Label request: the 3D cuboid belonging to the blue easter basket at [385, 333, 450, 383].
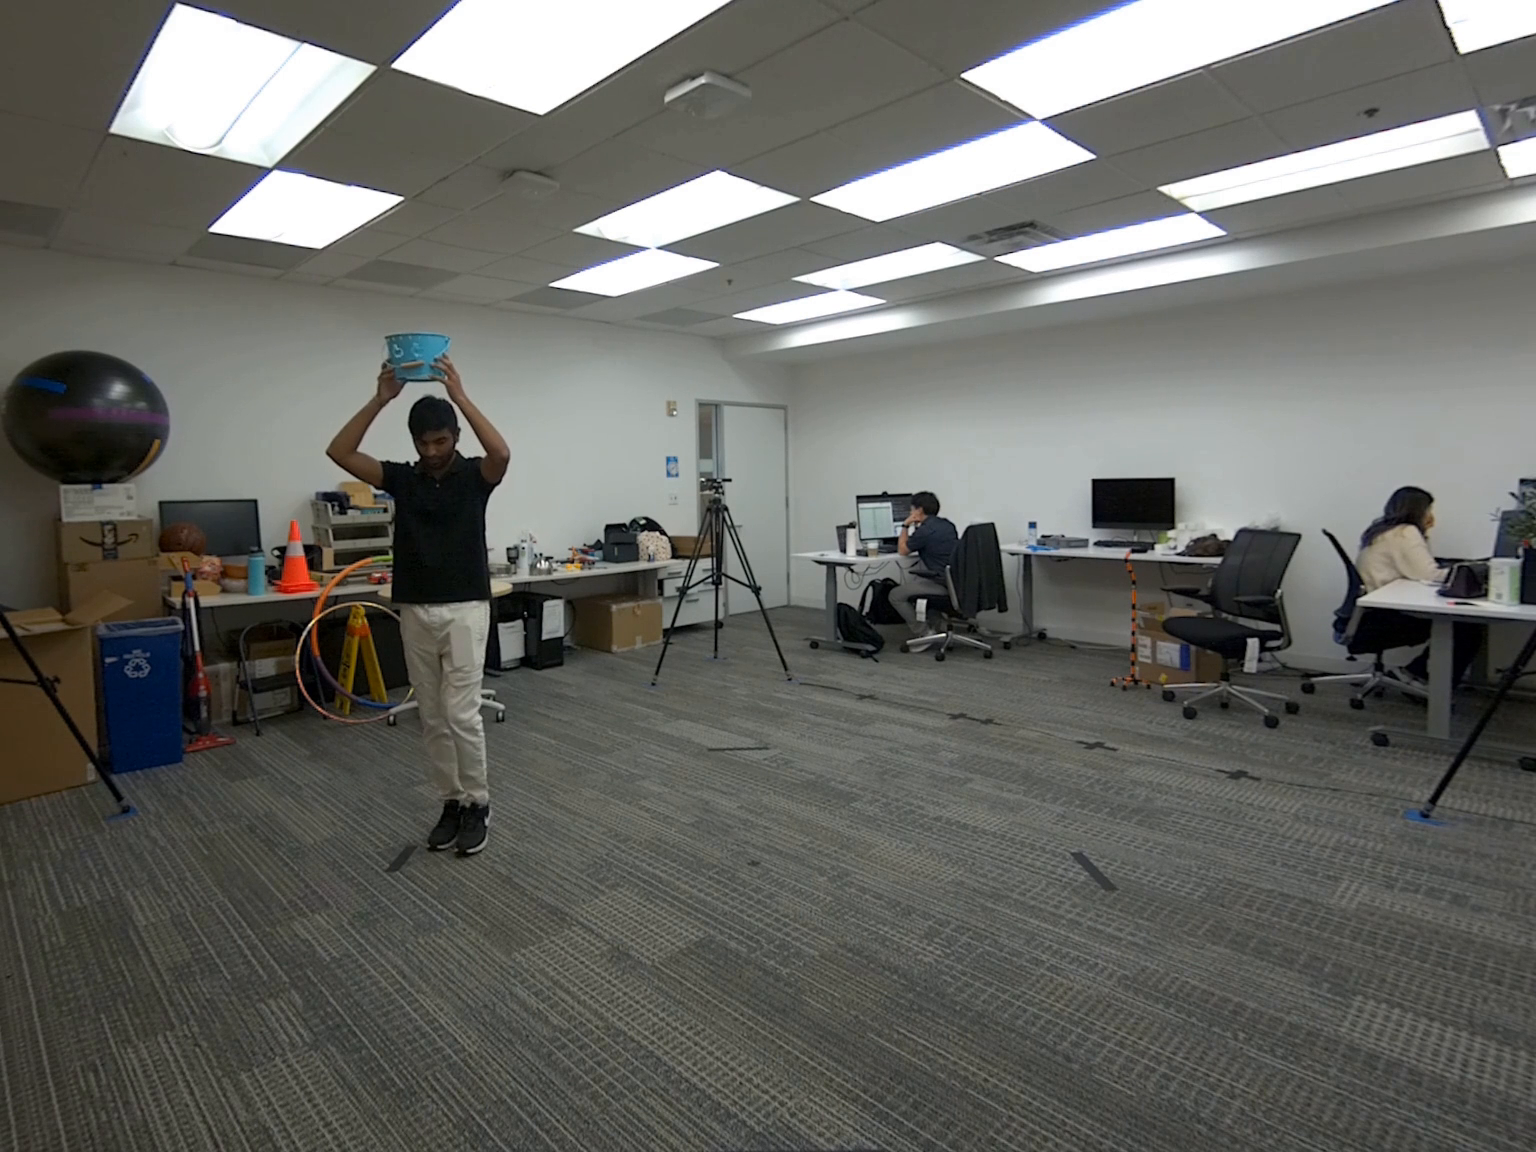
[{"bbox_3d":[-1.304,-0.804,3.164,0.243,0.155,0.245,-6,8,-1],"label":"blue easter basket"}]
